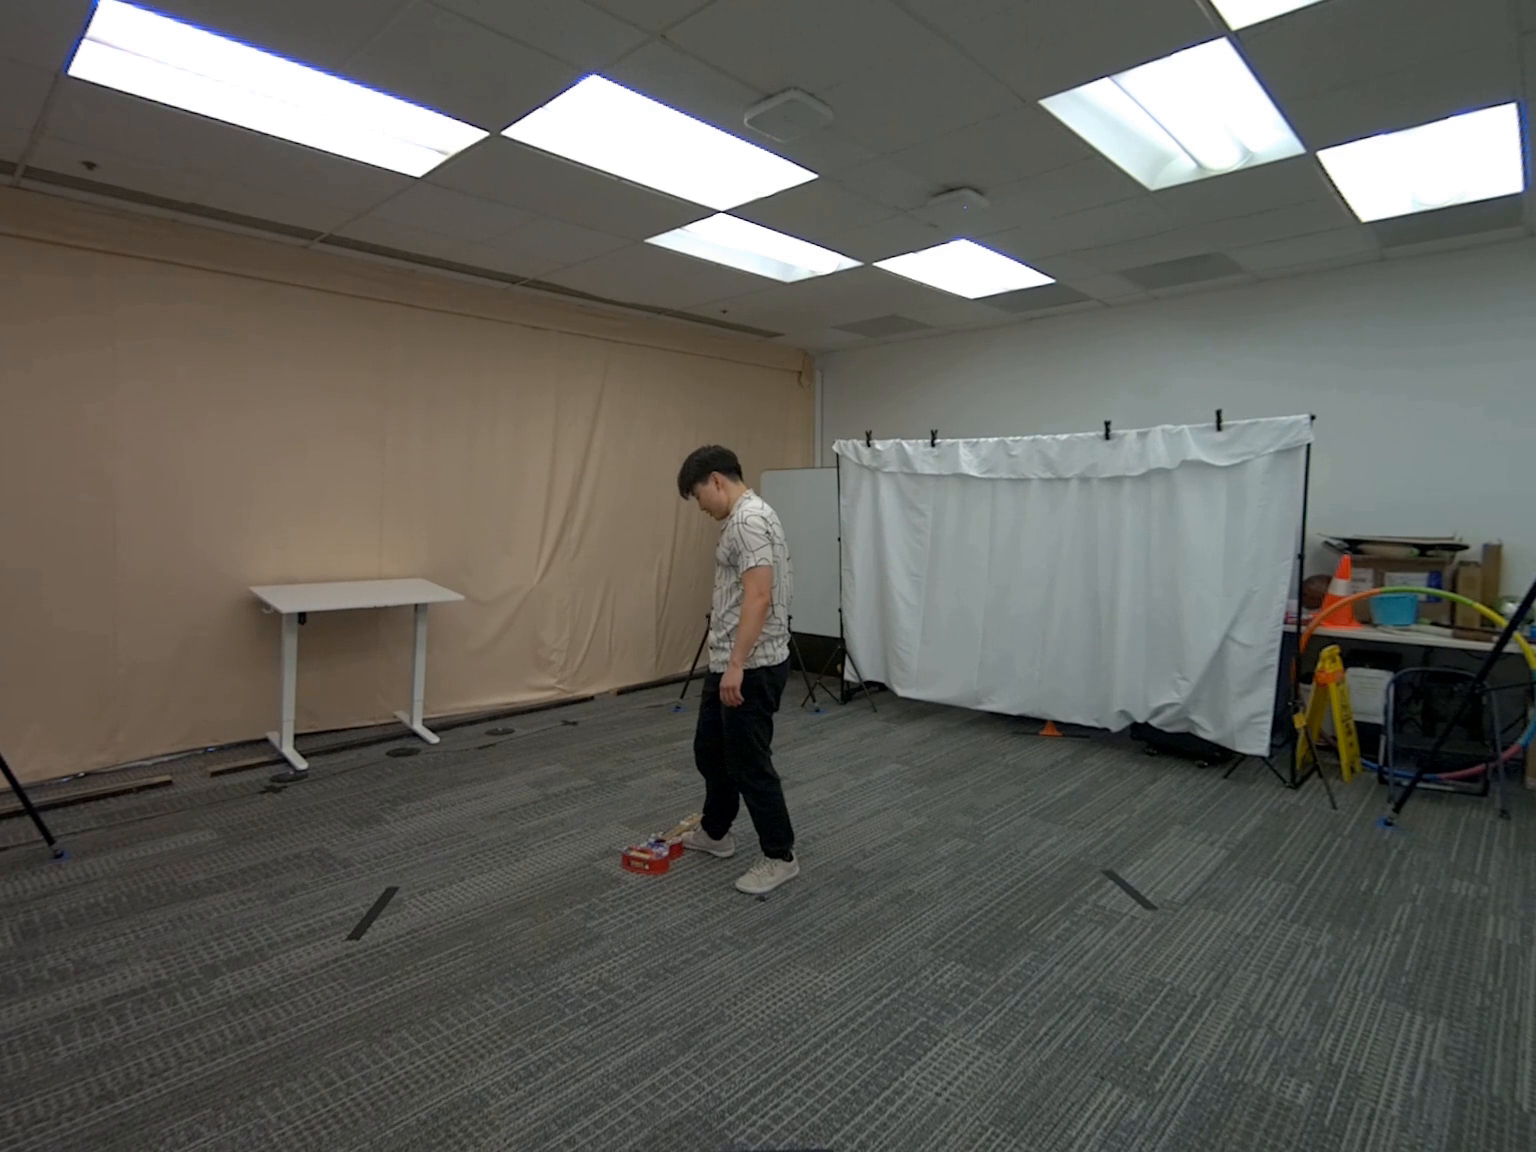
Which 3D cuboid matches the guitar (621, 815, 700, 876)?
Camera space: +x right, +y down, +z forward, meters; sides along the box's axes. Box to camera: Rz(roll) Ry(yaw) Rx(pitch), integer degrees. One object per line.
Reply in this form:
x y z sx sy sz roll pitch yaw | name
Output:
-0.373 1.078 3.403 0.199 0.070 0.484 2 6 34 | guitar
